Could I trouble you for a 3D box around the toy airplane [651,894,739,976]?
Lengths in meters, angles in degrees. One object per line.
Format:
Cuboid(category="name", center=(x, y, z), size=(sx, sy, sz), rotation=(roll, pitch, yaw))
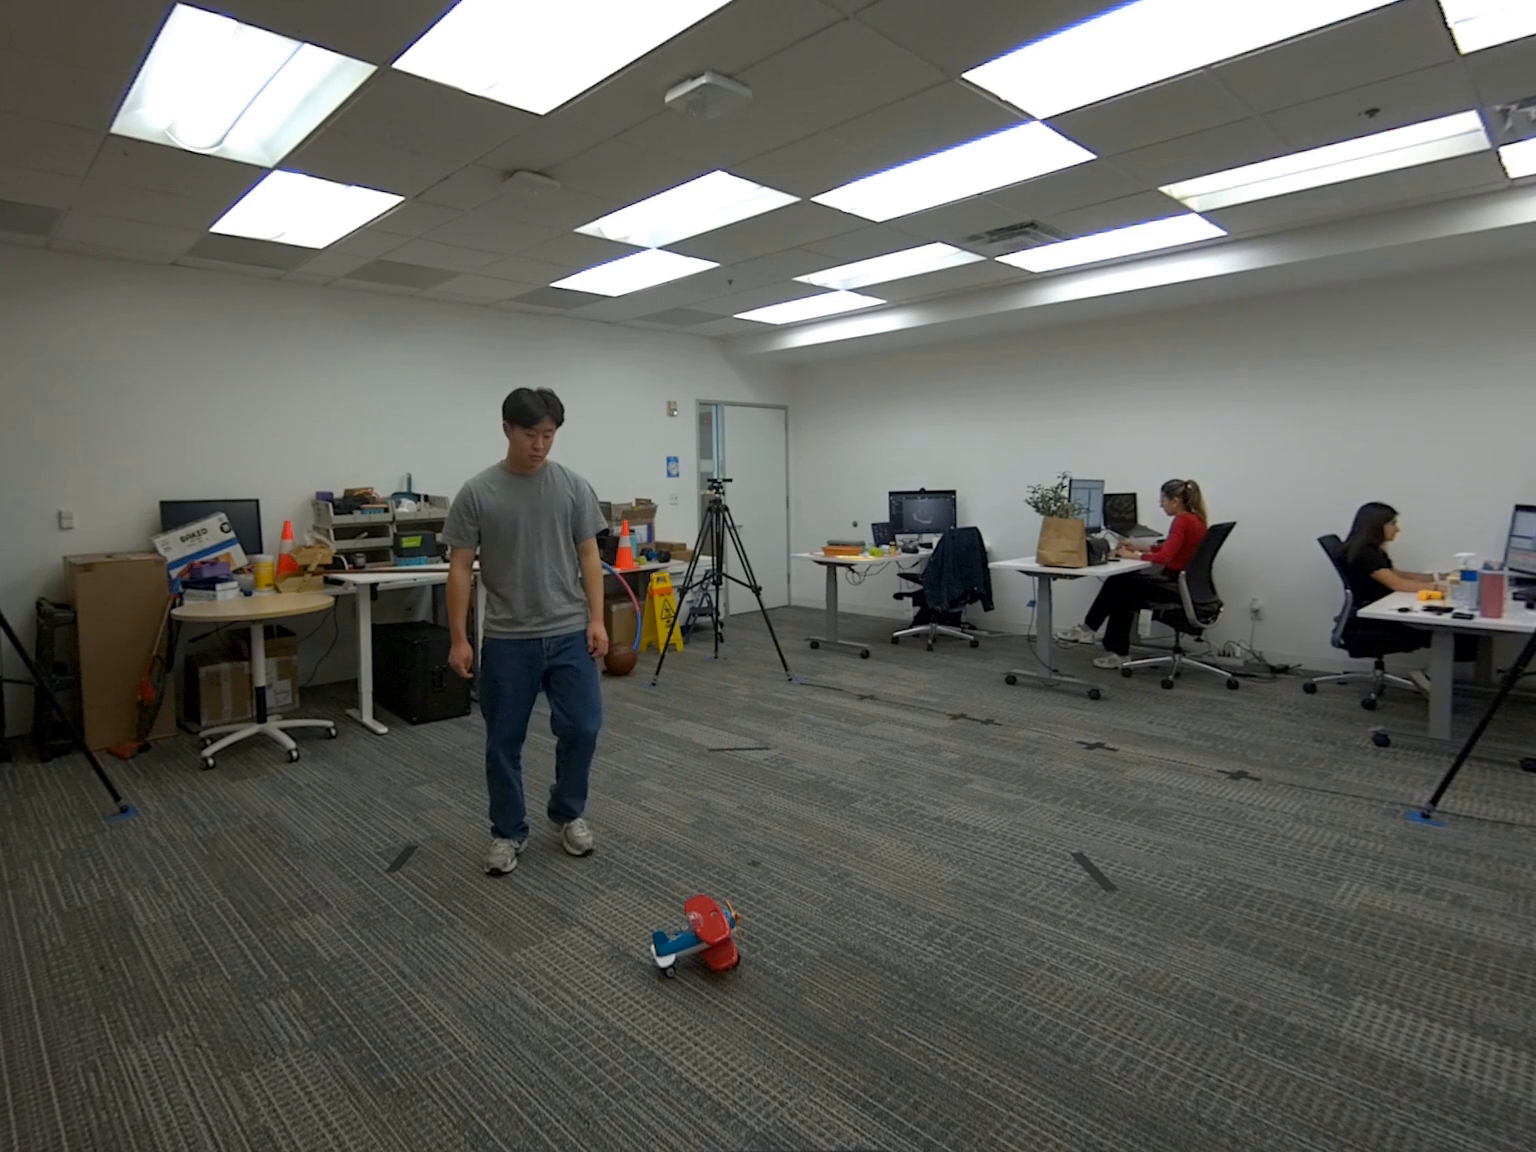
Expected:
Cuboid(category="toy airplane", center=(-0.190, 1.056, 2.438), size=(0.259, 0.156, 0.252), rotation=(4, 7, 42))
